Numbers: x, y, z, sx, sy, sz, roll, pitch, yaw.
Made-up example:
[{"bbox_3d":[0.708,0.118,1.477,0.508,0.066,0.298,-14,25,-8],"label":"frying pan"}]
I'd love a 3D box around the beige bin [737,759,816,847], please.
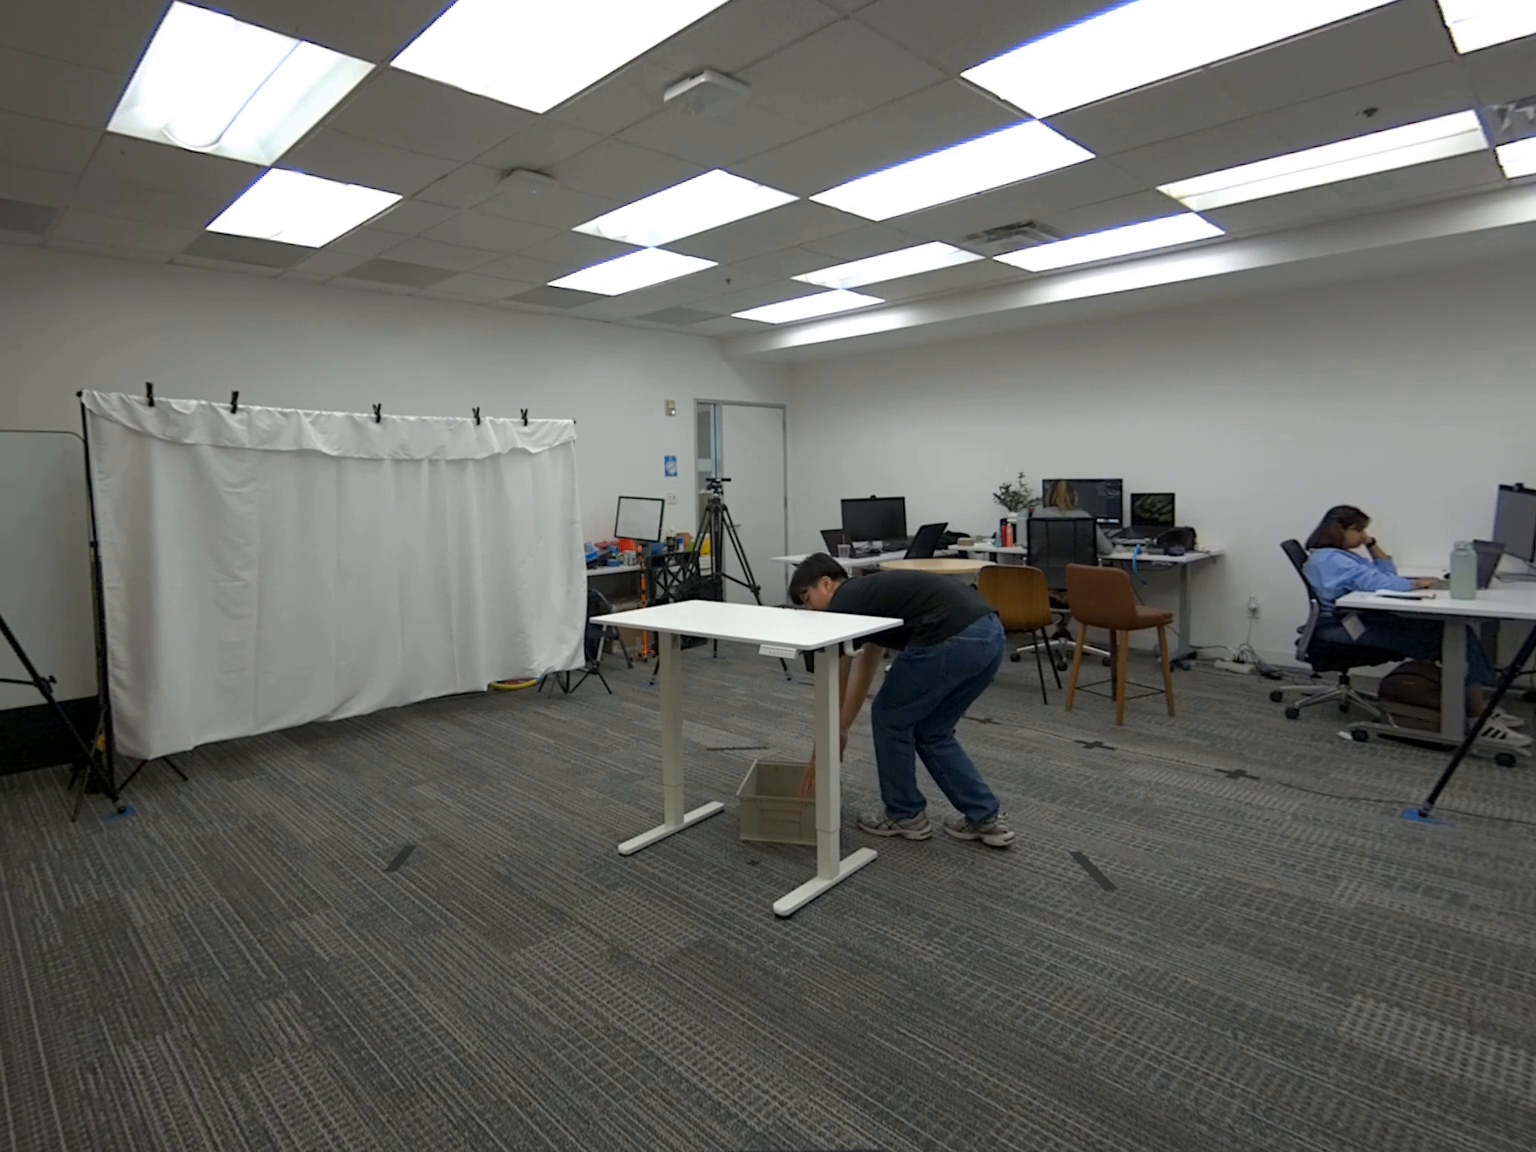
[{"bbox_3d":[0.101,0.911,3.465,0.382,0.188,0.419,0,6,12],"label":"beige bin"}]
